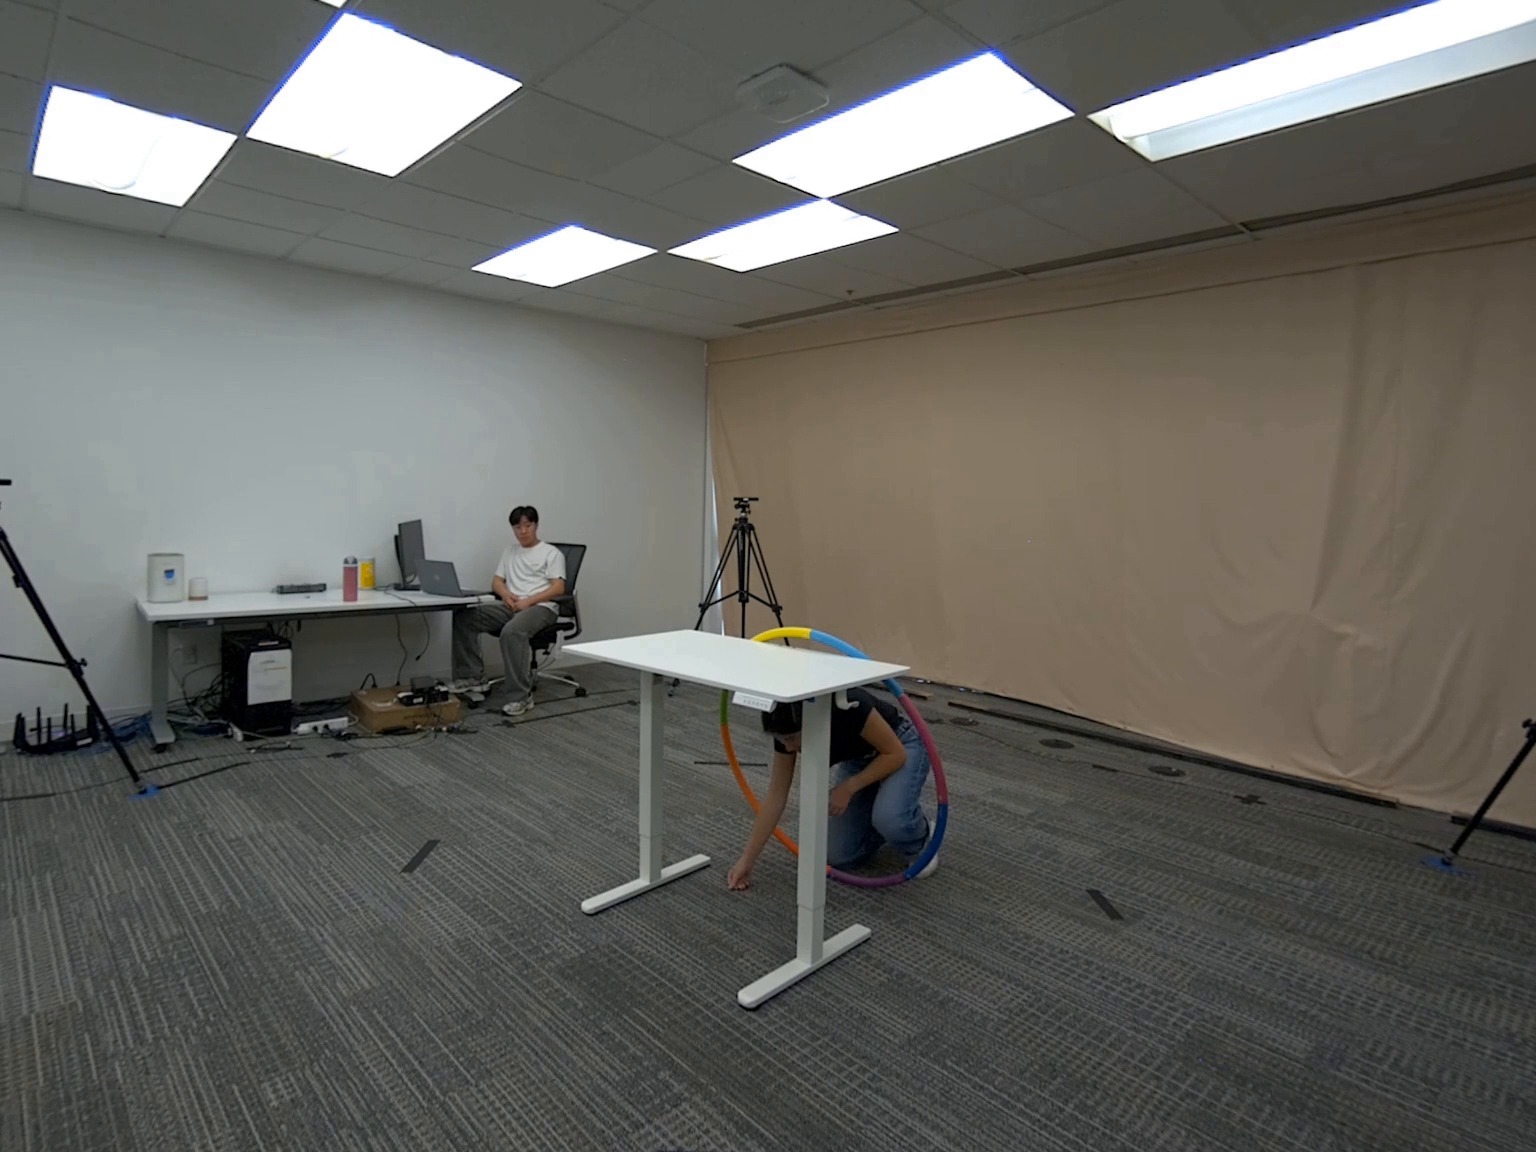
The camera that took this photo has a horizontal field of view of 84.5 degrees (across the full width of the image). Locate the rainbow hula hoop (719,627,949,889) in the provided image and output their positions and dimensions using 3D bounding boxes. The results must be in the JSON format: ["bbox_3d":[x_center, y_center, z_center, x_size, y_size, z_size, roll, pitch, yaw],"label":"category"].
[{"bbox_3d":[0.193,0.651,2.988,1.004,0.967,0.035,5,19,43],"label":"rainbow hula hoop"}]
